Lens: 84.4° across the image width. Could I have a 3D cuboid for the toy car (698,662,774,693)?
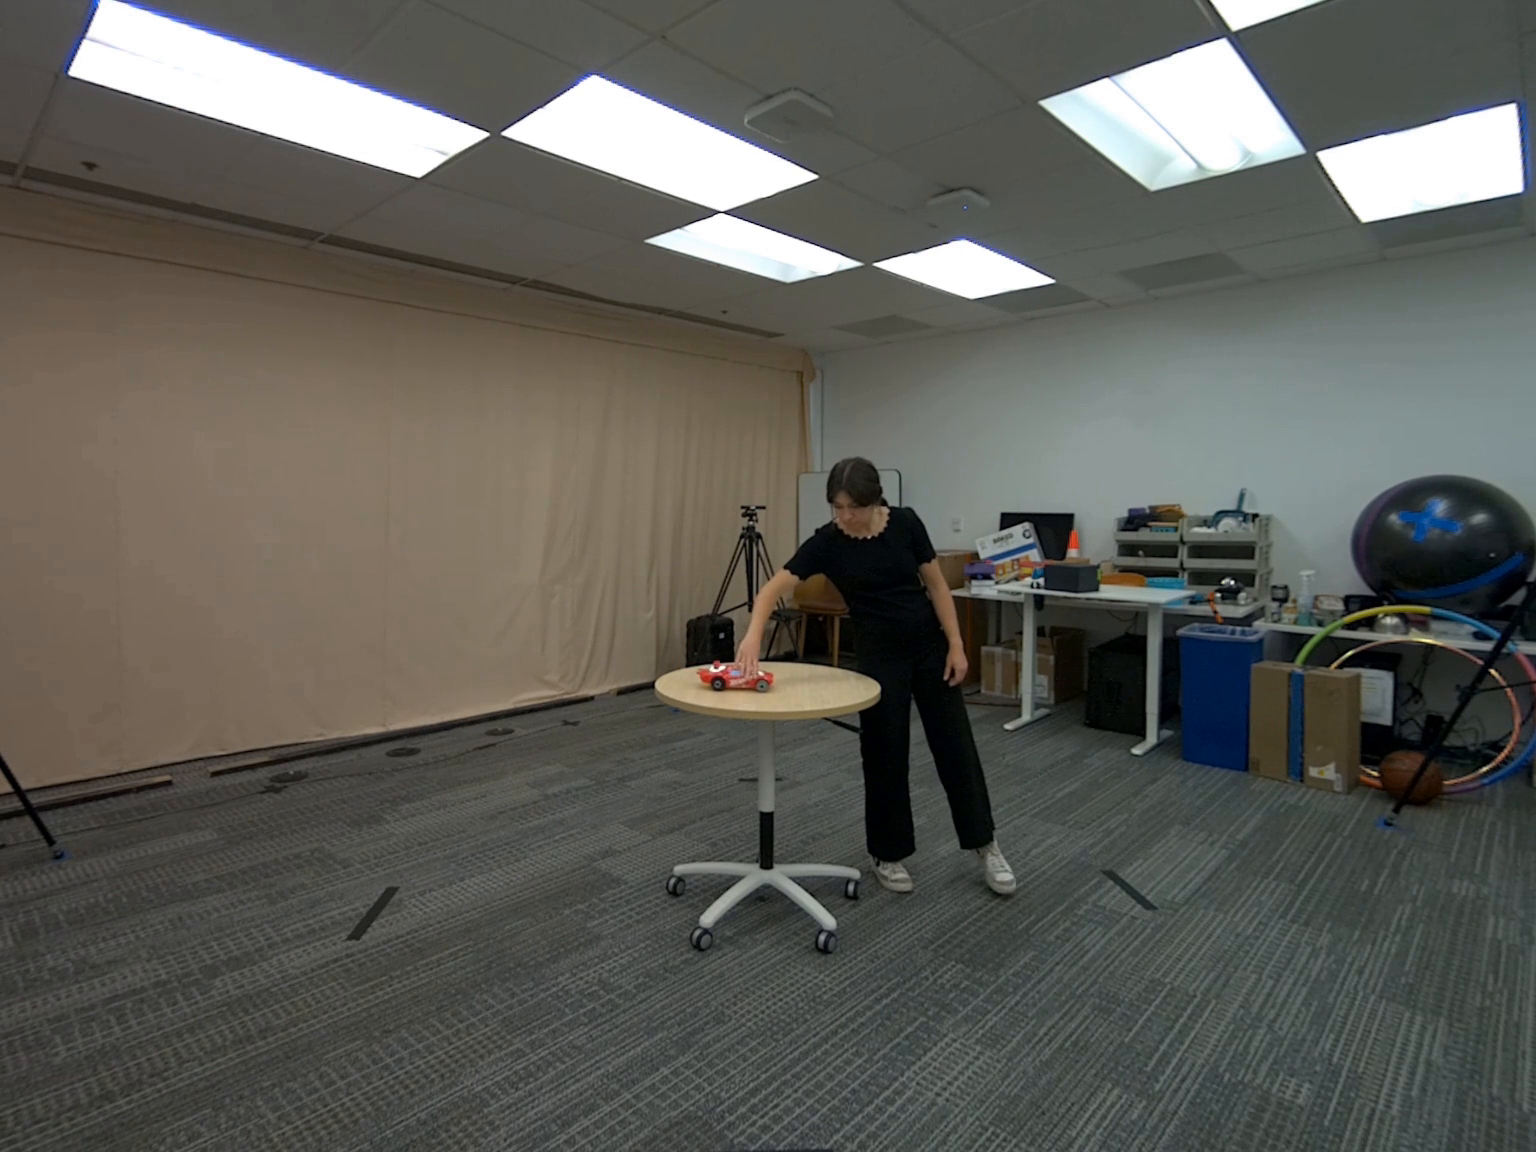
[{"bbox_3d":[-0.106,0.345,2.808,0.256,0.083,0.130,12,6,4],"label":"toy car"}]
